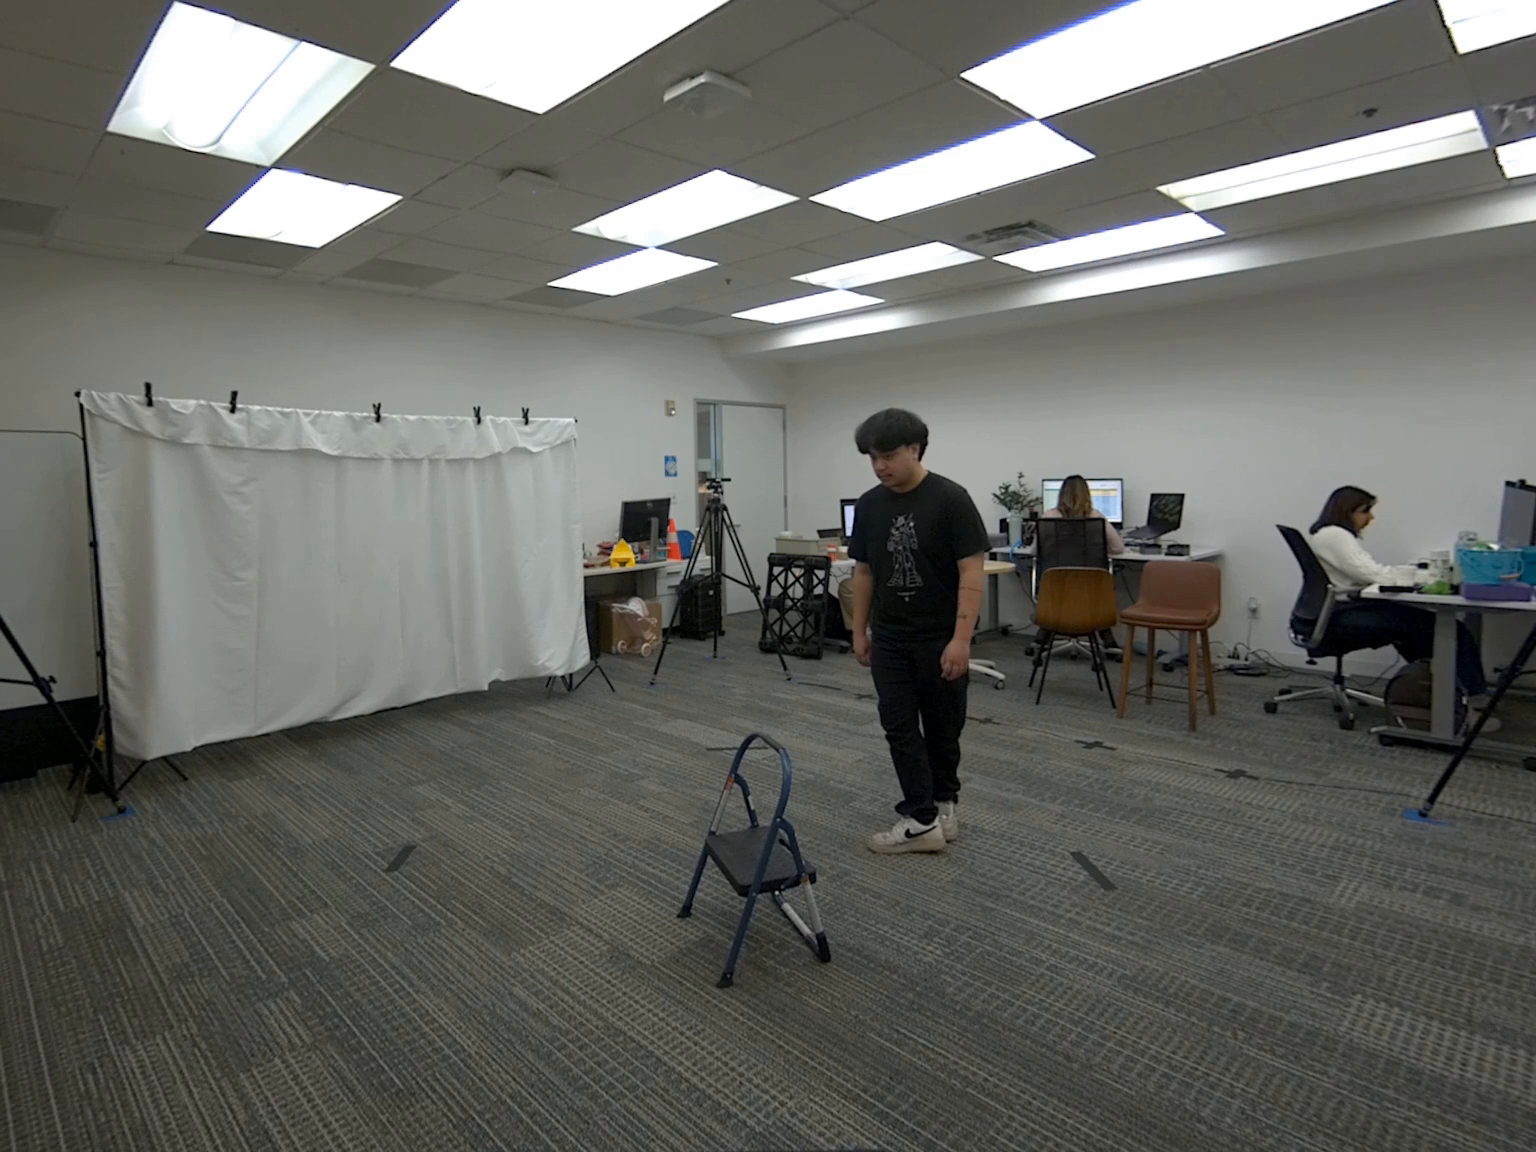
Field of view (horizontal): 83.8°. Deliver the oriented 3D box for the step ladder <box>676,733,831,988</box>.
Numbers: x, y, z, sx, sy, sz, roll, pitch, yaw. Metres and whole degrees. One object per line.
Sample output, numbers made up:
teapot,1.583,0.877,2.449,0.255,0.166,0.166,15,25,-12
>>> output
step ladder,-0.051,0.801,2.581,0.343,0.603,0.440,-3,5,-21
